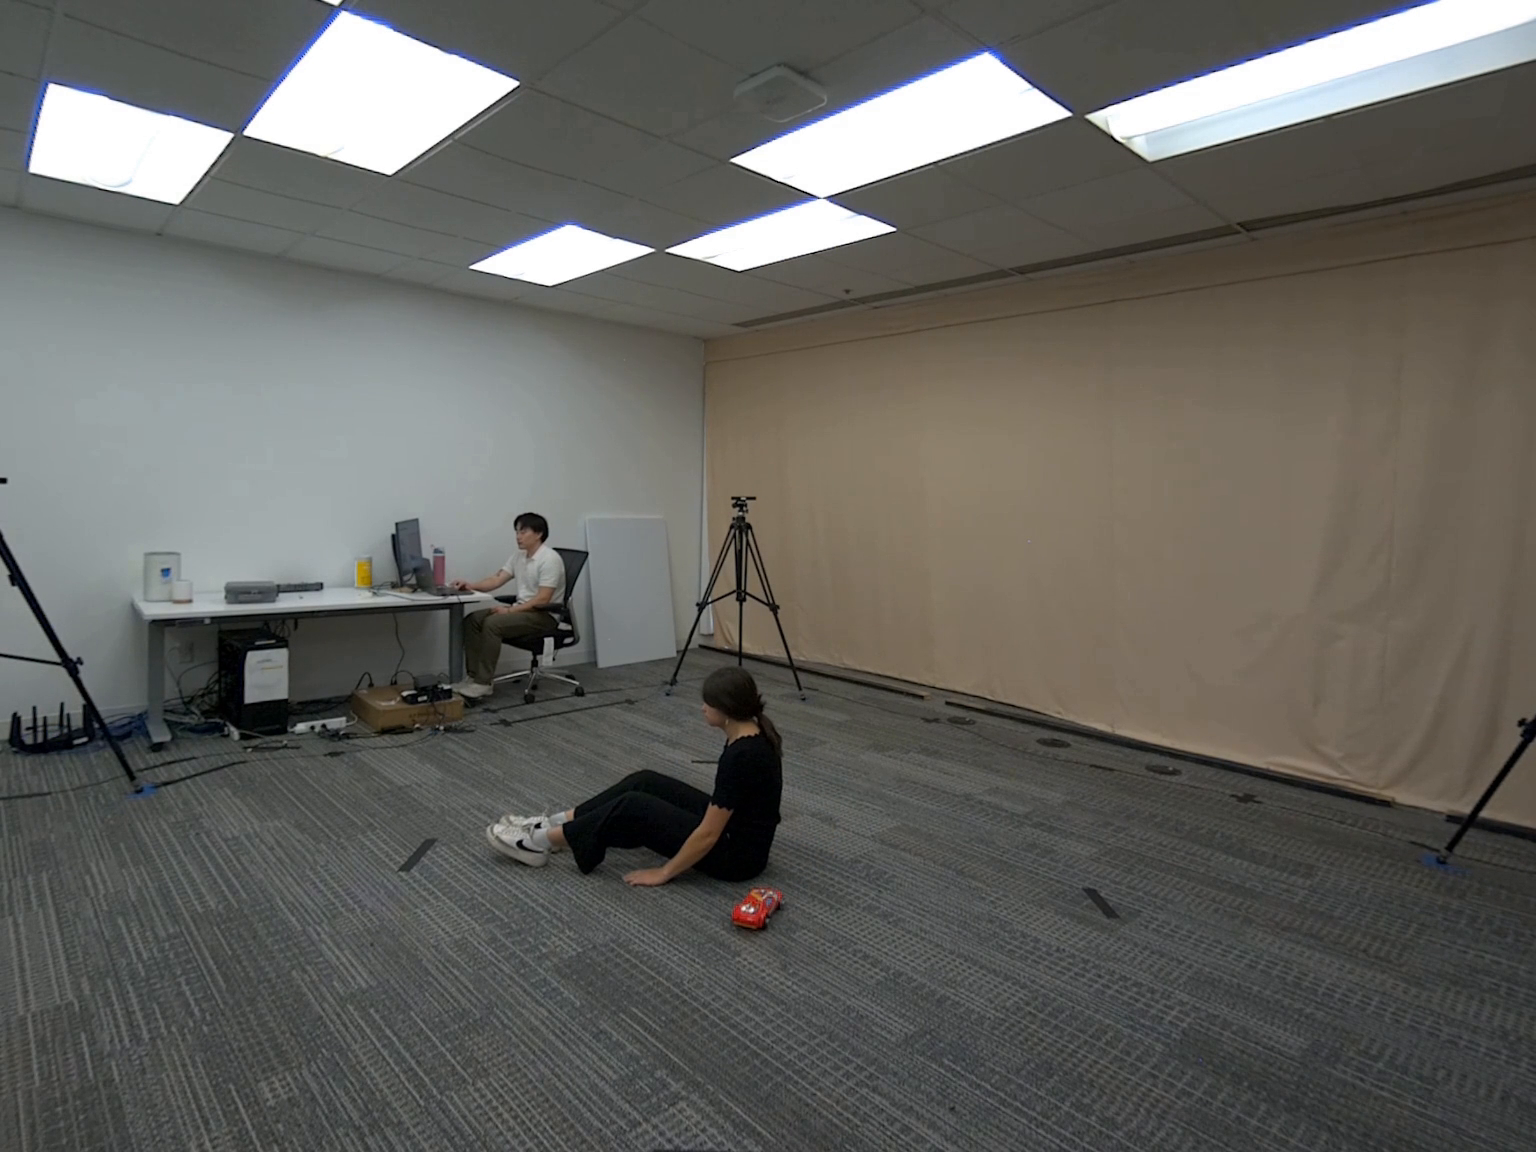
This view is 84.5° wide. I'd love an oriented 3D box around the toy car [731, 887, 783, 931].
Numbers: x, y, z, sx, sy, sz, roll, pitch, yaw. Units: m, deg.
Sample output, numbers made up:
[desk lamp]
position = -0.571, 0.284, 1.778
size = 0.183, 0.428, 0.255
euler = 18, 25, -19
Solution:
[toy car]
position = -0.051, 1.106, 2.786
size = 0.133, 0.083, 0.249
euler = 3, -6, 23
